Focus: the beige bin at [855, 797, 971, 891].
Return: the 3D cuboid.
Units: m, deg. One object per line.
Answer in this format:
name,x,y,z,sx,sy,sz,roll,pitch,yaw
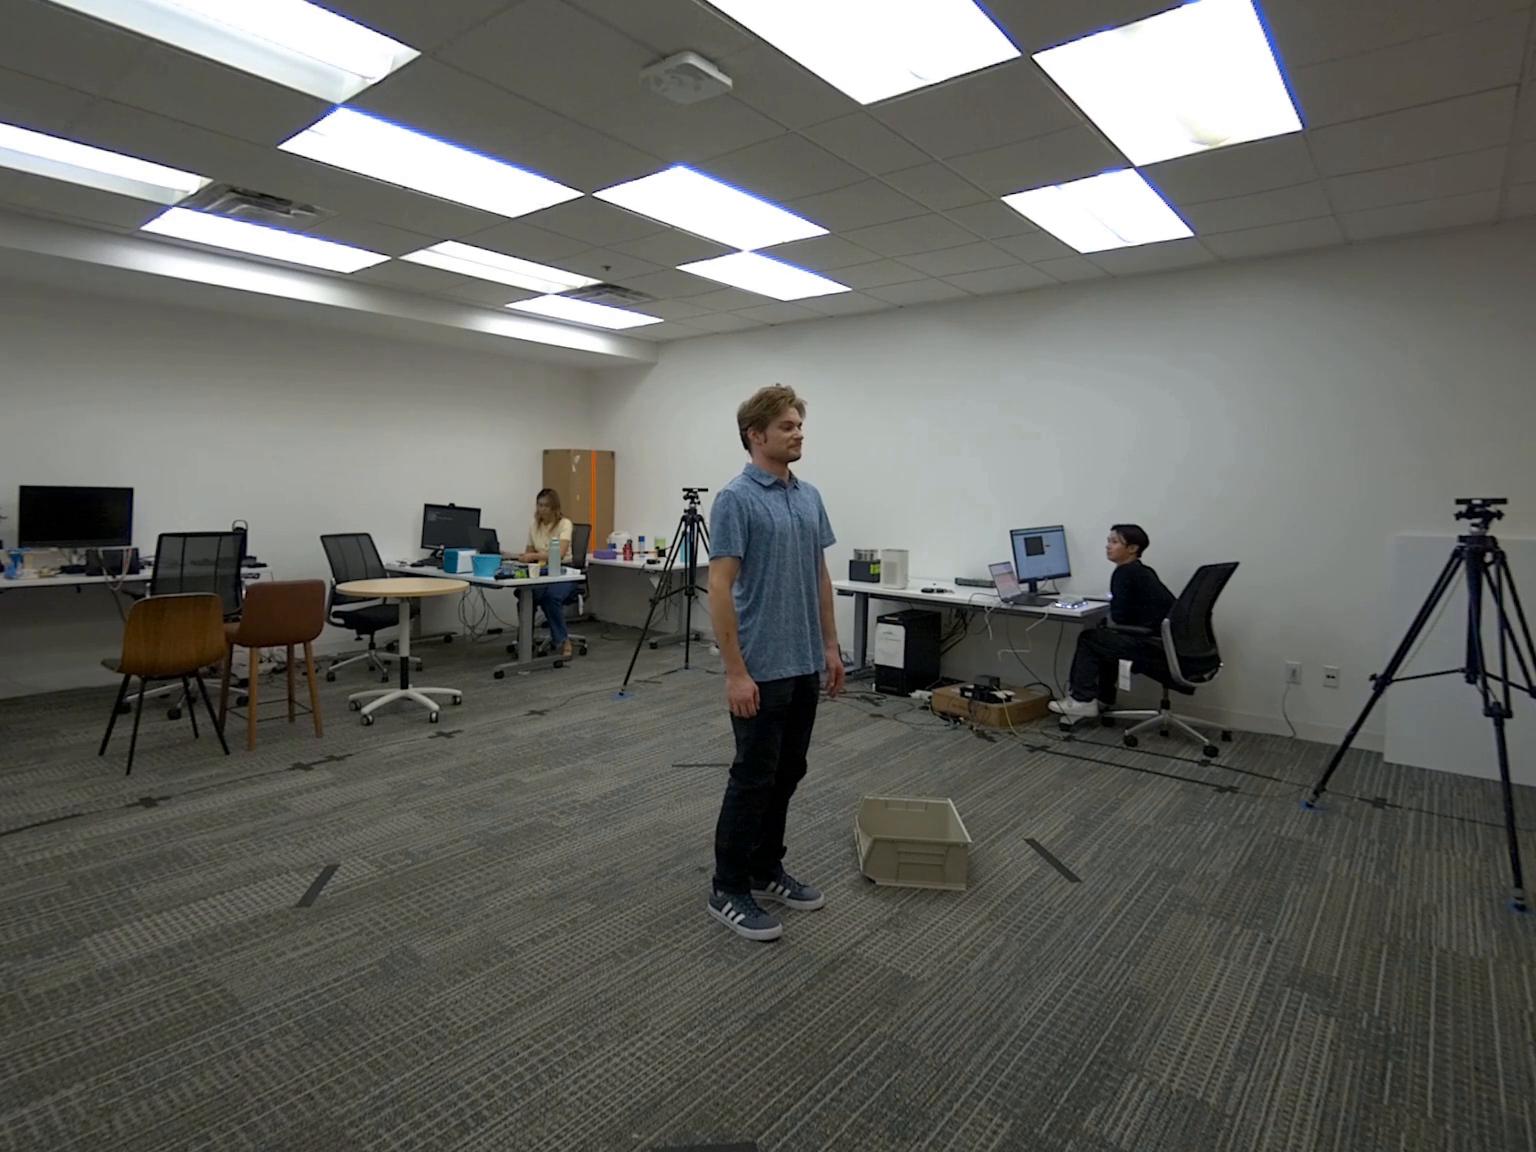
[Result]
beige bin,0.524,0.989,3.202,0.379,0.188,0.422,2,4,3
